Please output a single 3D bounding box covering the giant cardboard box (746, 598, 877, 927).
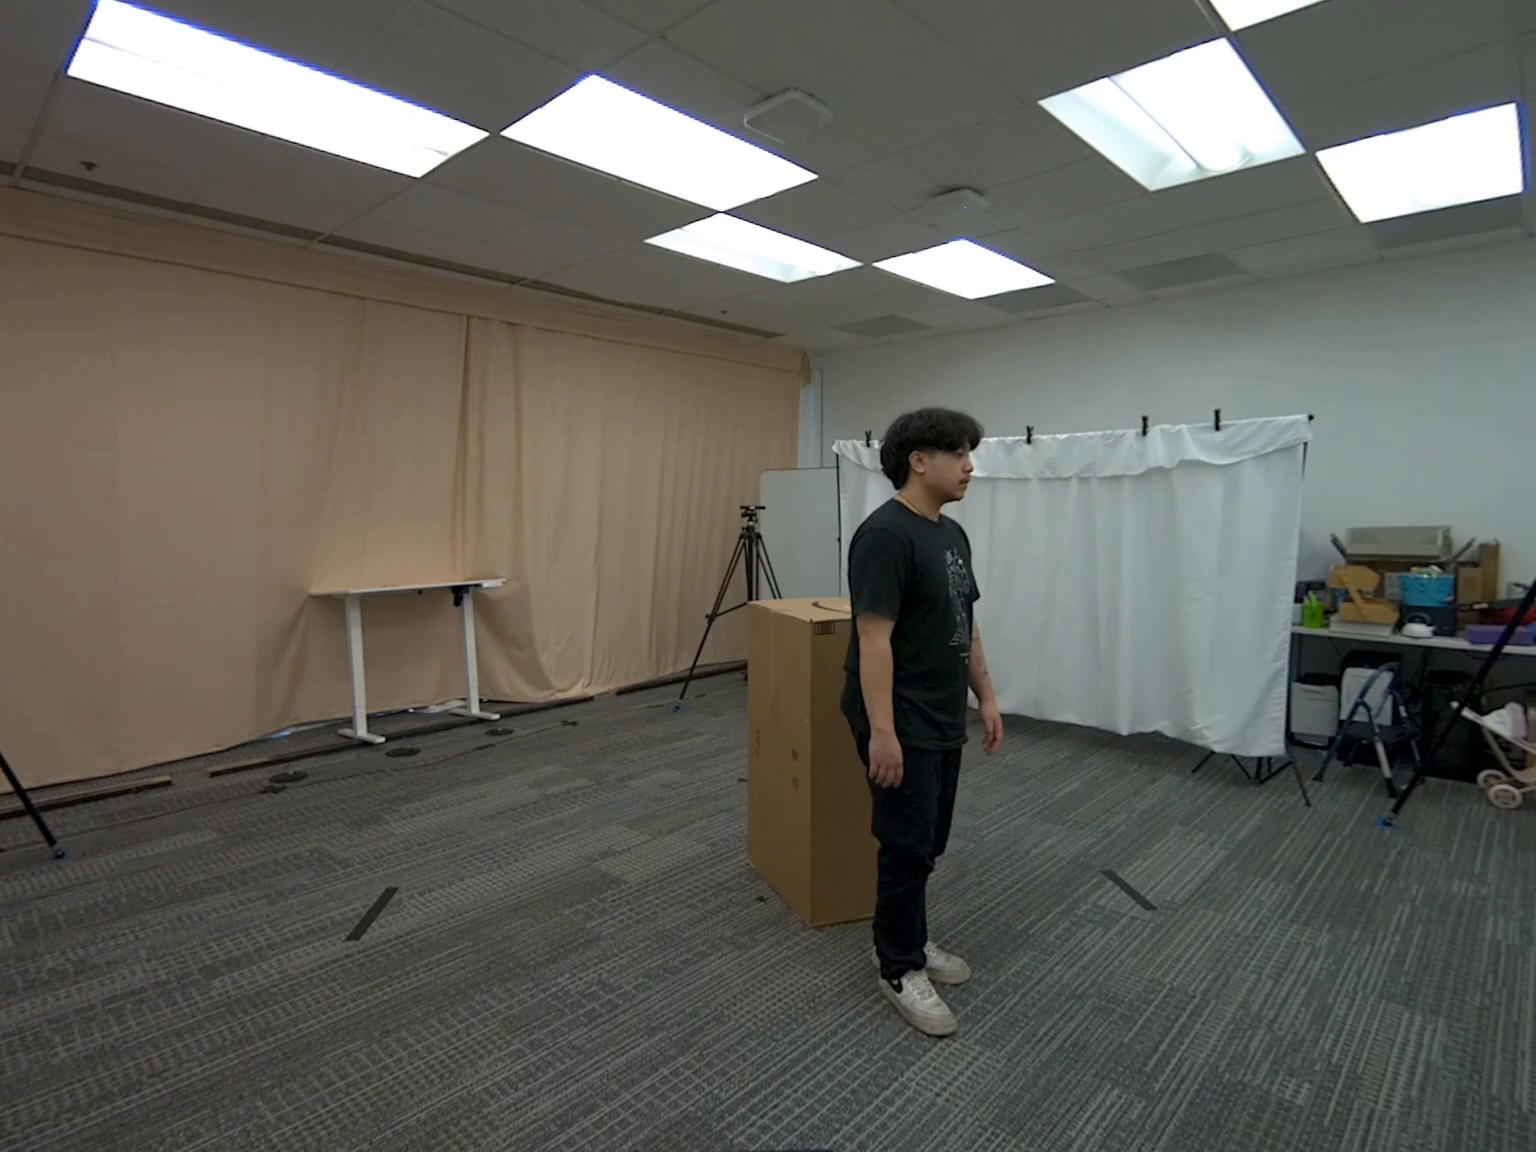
[{"bbox_3d":[0.226,0.623,3.079,0.438,1.025,0.597,0,3,-21],"label":"giant cardboard box"}]
